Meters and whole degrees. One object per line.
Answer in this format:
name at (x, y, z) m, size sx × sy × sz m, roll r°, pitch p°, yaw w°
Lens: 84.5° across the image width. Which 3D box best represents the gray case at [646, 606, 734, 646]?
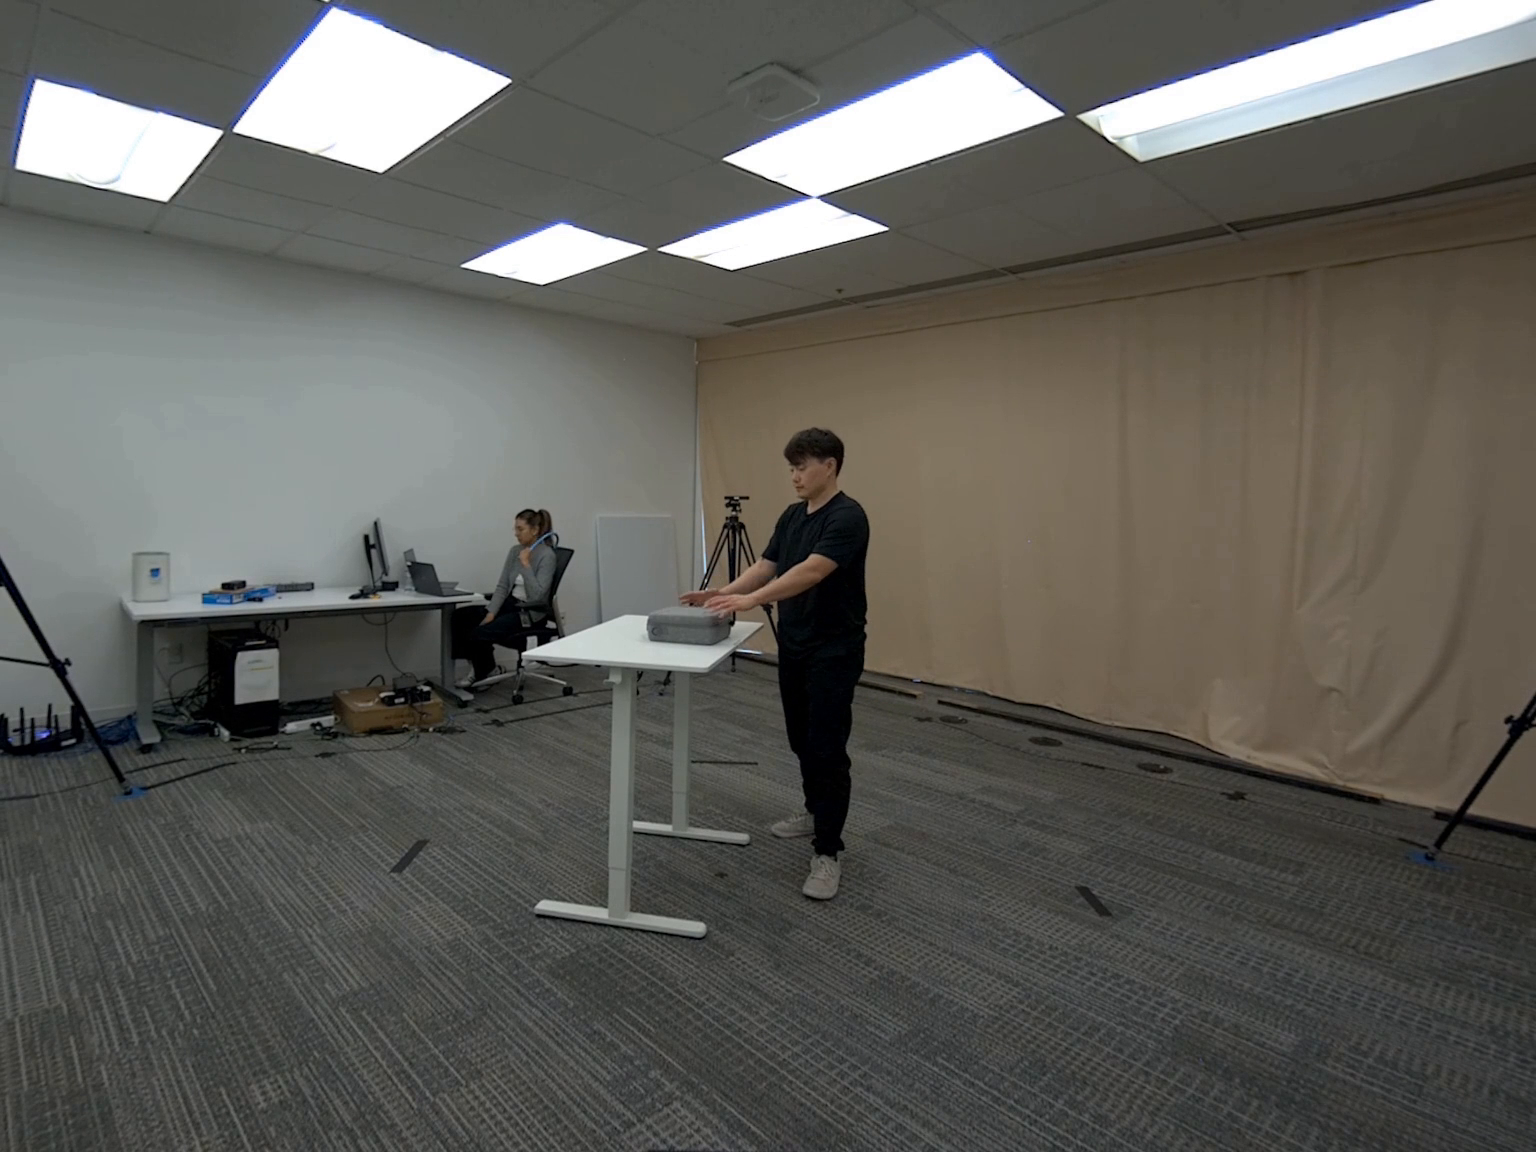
gray case at (-0.293, 0.174, 3.021) m, size 0.264 × 0.104 × 0.254 m, roll 2°, pitch 6°, yaw 15°
